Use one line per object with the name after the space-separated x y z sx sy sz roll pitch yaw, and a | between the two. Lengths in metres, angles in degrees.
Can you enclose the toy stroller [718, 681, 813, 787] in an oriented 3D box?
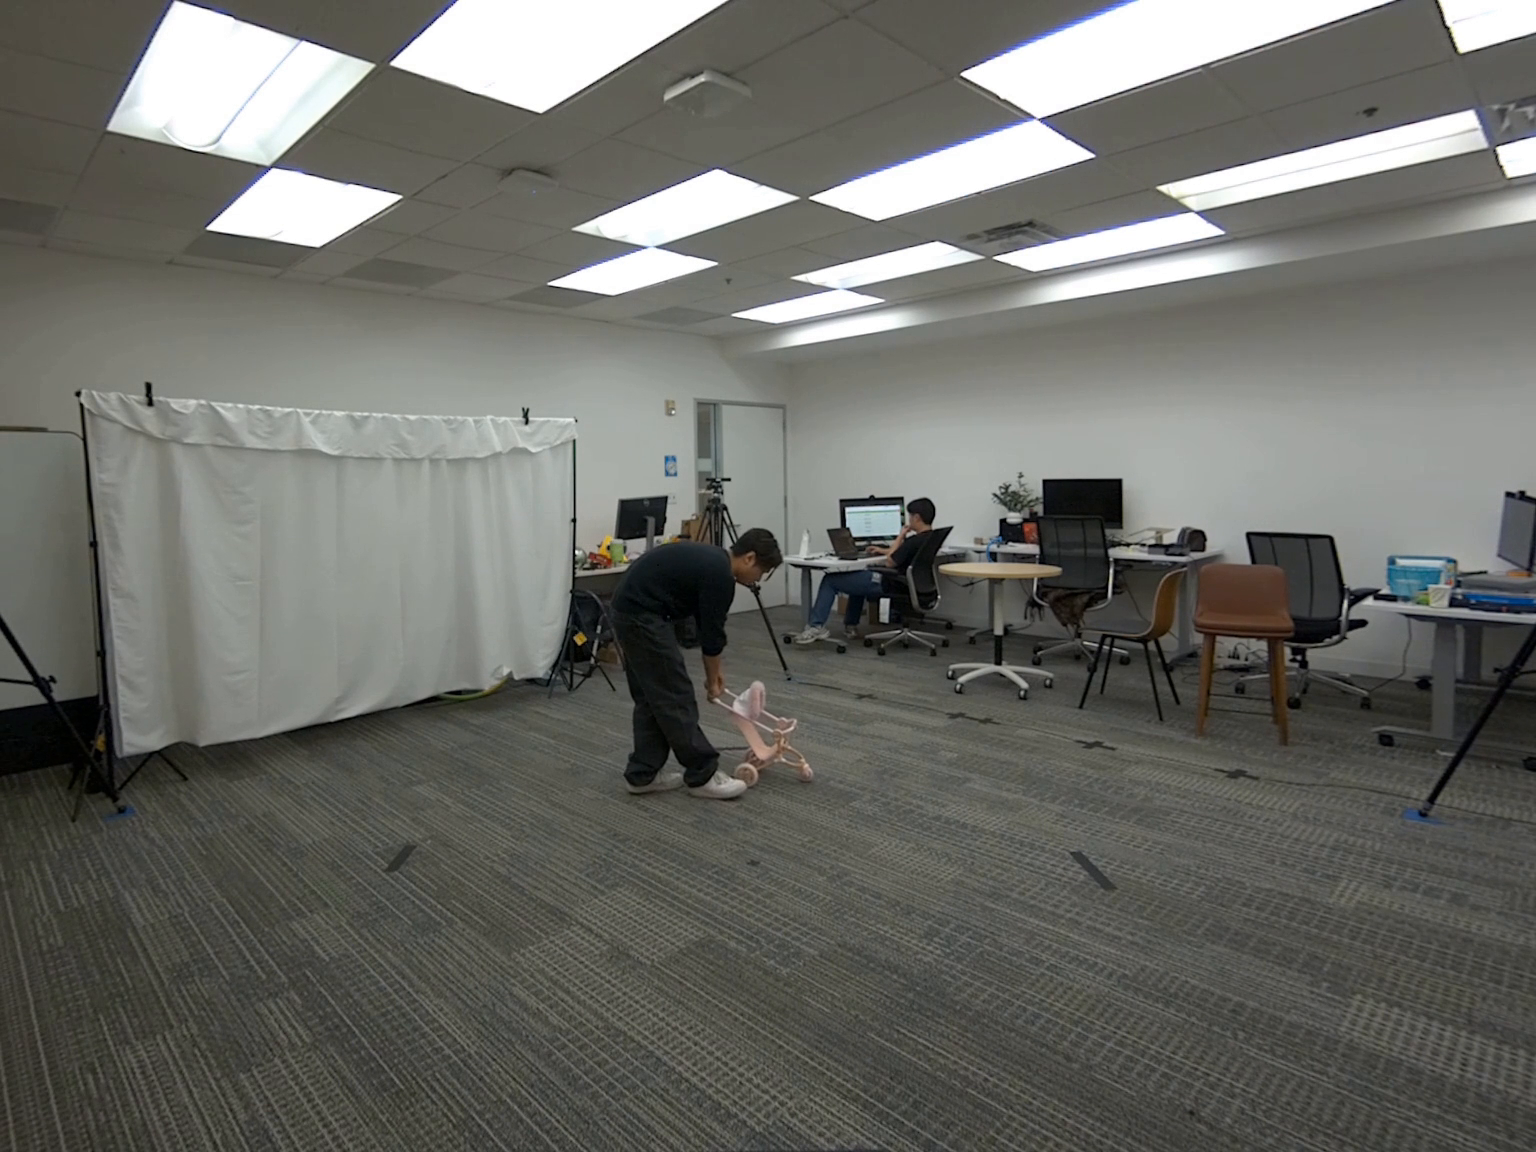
-0.019 0.721 3.951 0.345 0.536 0.278 -18 -1 17 | toy stroller
